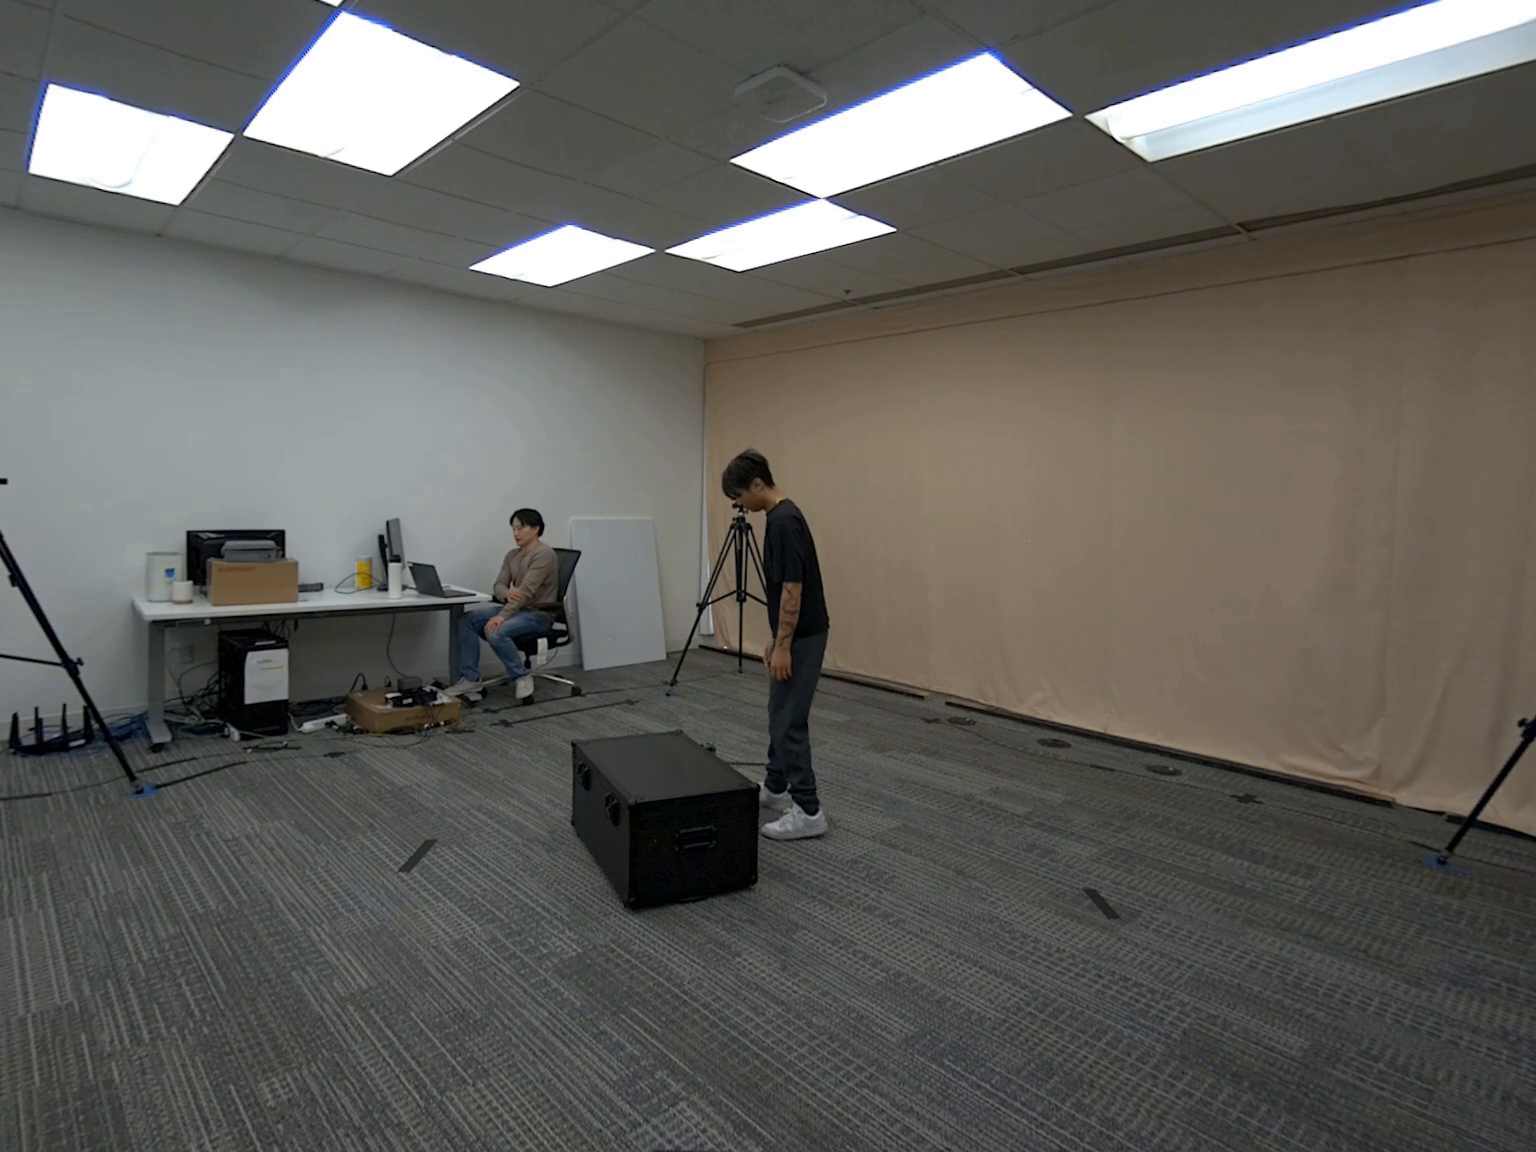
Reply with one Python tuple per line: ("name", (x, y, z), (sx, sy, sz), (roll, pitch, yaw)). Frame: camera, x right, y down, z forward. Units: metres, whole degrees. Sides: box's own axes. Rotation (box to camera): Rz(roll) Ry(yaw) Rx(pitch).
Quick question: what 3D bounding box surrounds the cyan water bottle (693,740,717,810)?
("cyan water bottle", (-0.285, 0.899, 3.832), (0.092, 0.283, 0.092), (2, 2, -1))
